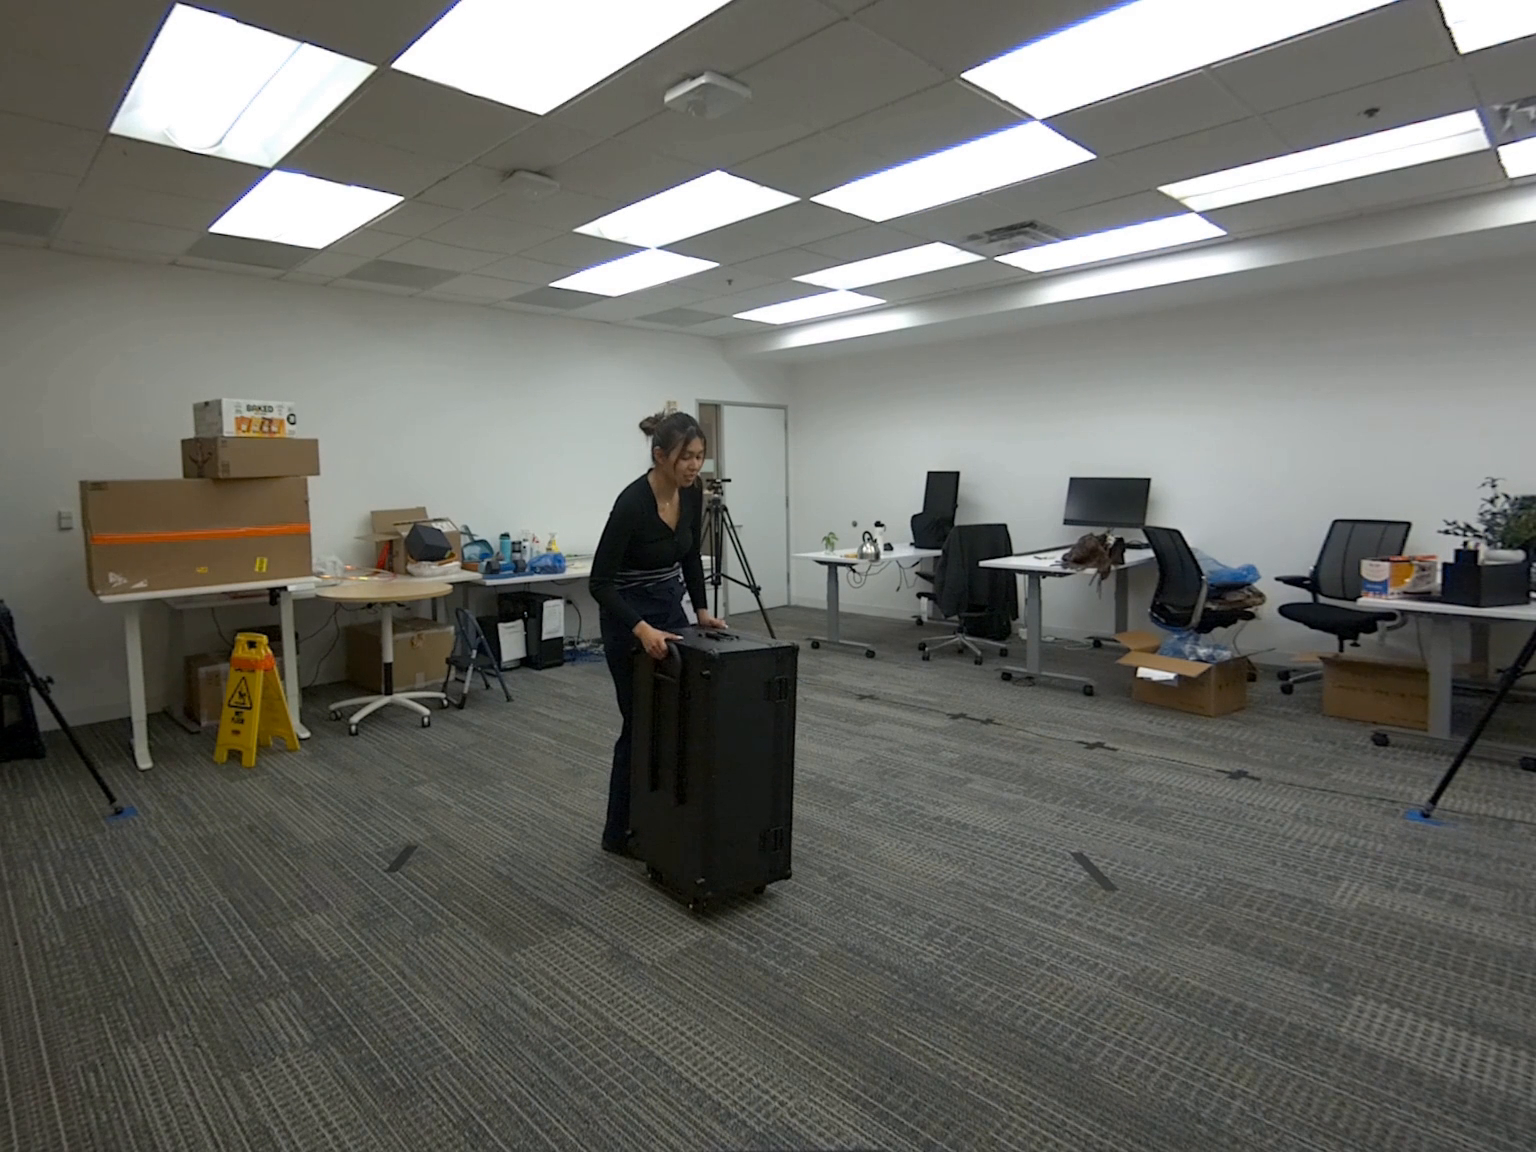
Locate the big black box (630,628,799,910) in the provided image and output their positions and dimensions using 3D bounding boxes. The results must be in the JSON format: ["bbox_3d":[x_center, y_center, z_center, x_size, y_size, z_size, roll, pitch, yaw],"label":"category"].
[{"bbox_3d":[-0.177,0.582,2.911,0.385,0.859,0.537,-1,4,-37],"label":"big black box"}]
